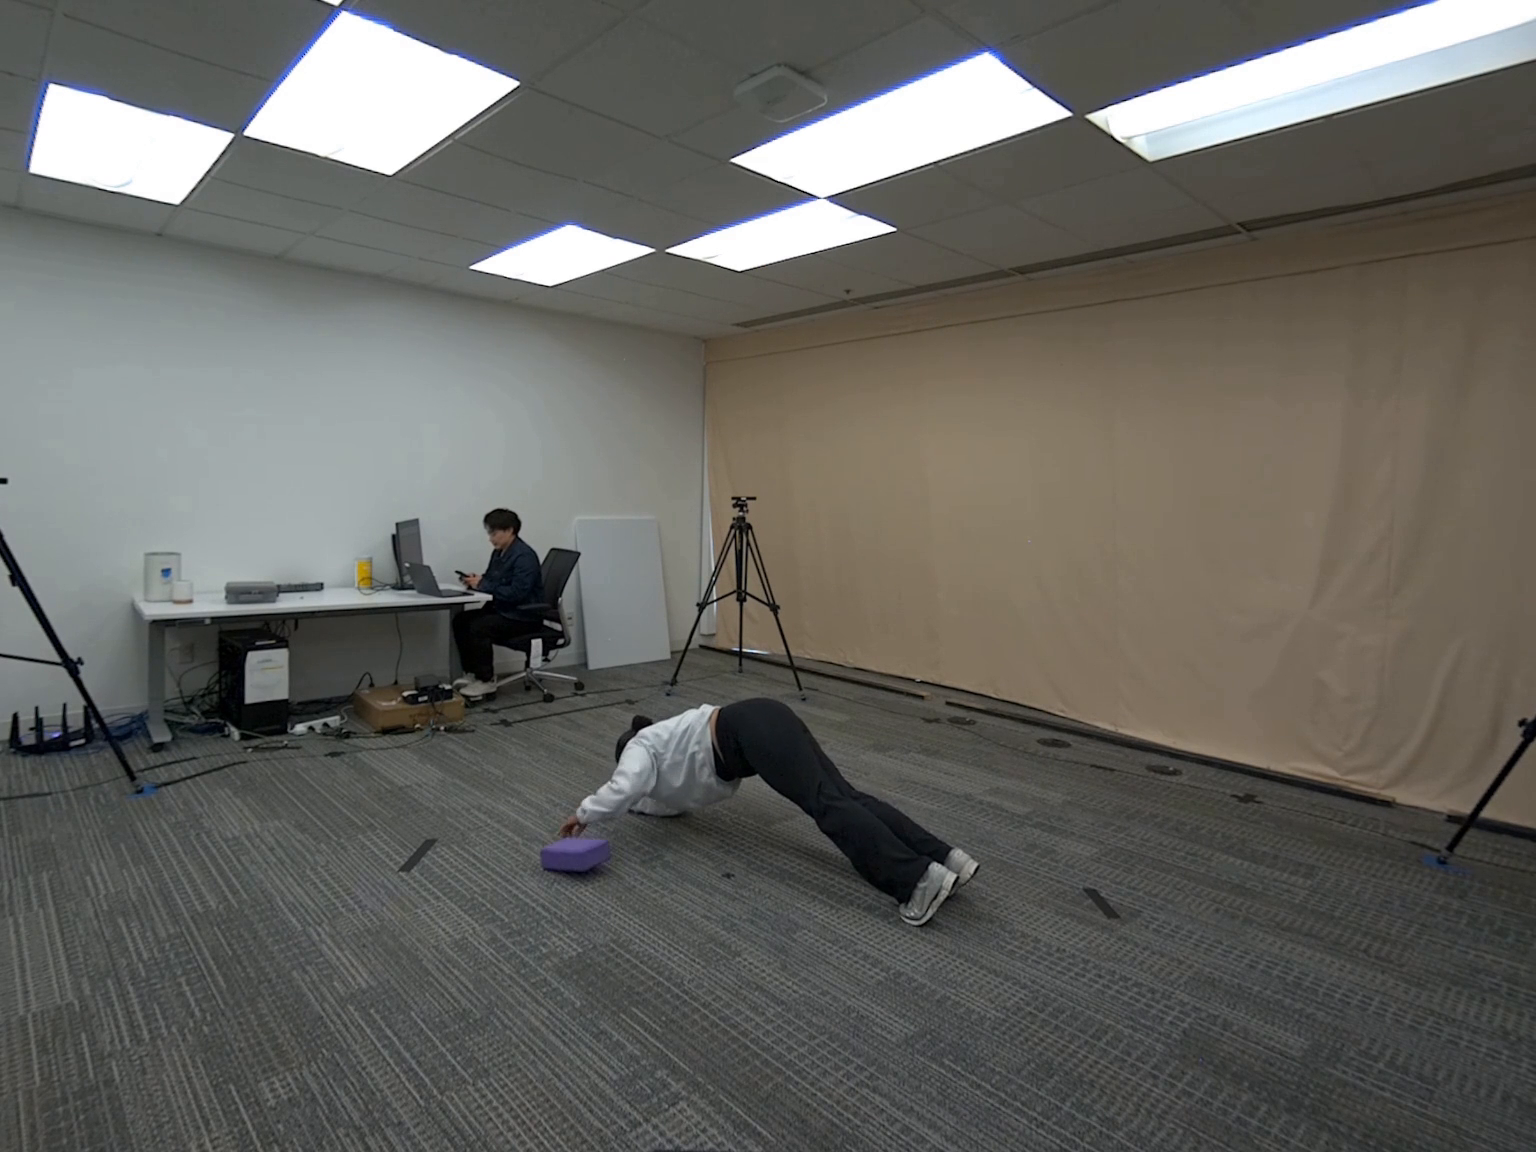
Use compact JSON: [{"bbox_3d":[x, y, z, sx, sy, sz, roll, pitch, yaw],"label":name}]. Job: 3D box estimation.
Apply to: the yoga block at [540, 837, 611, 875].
[{"bbox_3d":[-0.713,1.034,3.113,0.234,0.076,0.146,-5,0,35],"label":"yoga block"}]
